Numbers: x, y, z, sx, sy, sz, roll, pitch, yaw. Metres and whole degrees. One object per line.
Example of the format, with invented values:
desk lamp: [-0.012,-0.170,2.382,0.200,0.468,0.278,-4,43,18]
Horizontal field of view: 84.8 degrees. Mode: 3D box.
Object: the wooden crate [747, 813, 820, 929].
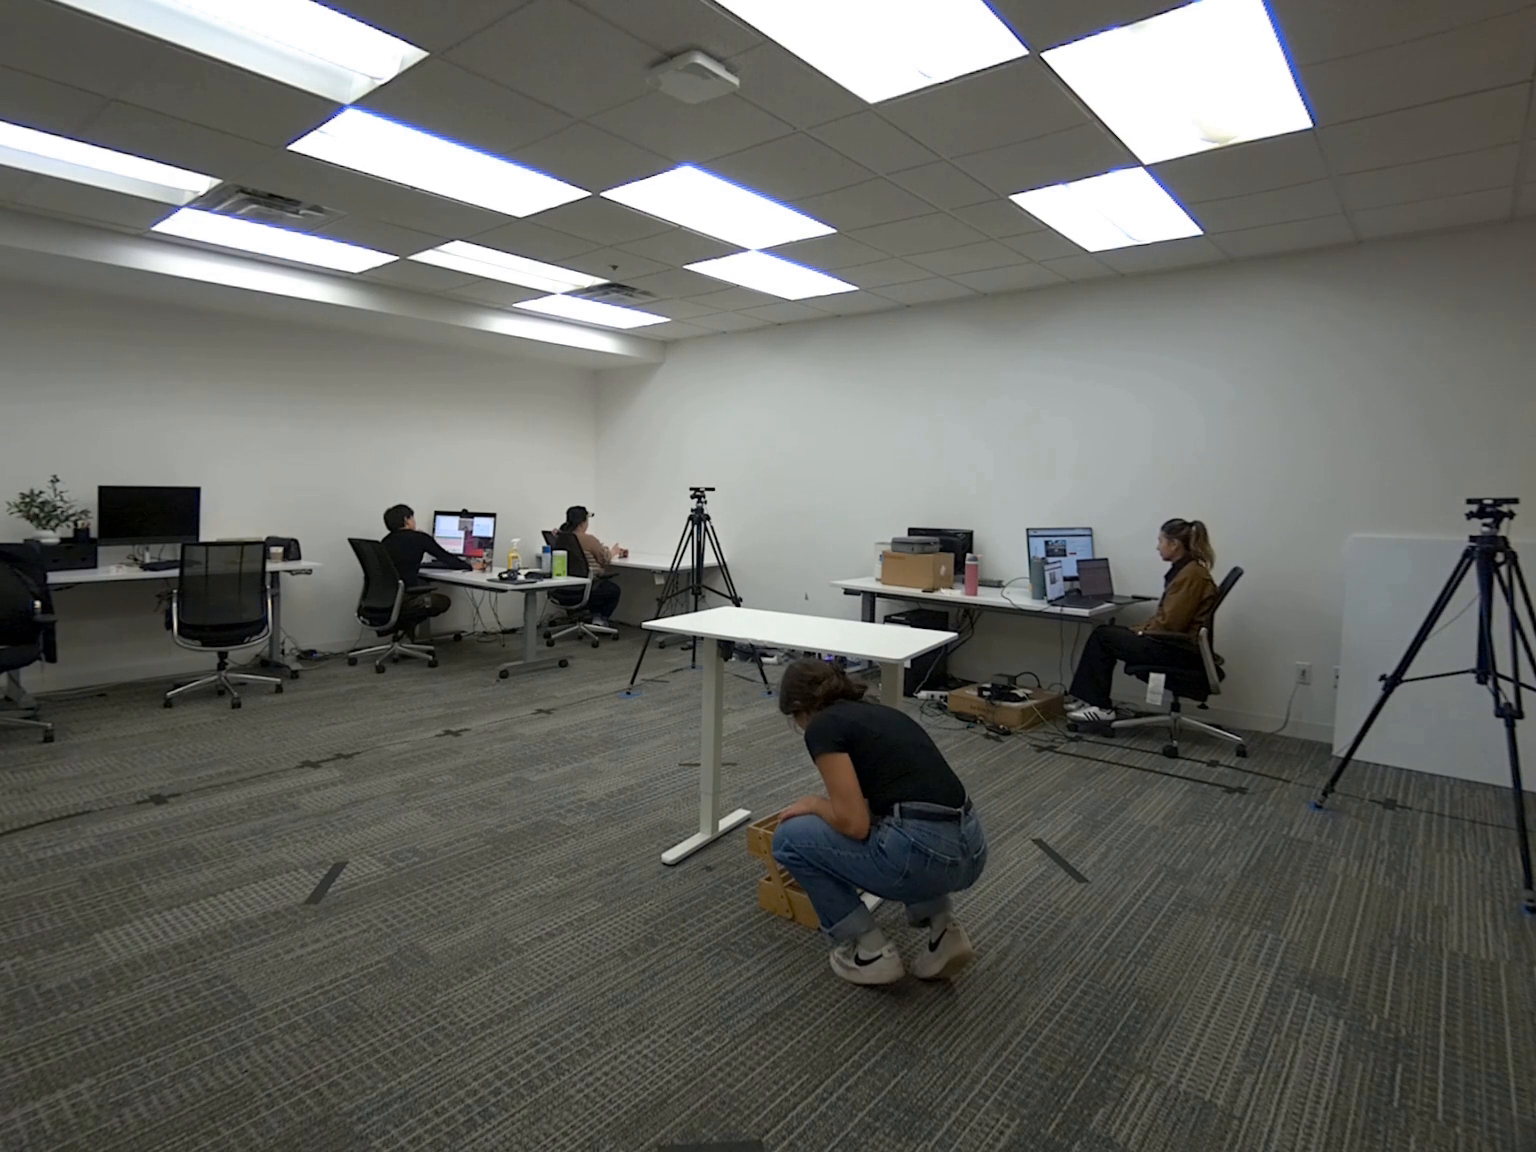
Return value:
wooden crate: [0.132,0.960,2.877,0.312,0.272,0.315,4,5,36]
